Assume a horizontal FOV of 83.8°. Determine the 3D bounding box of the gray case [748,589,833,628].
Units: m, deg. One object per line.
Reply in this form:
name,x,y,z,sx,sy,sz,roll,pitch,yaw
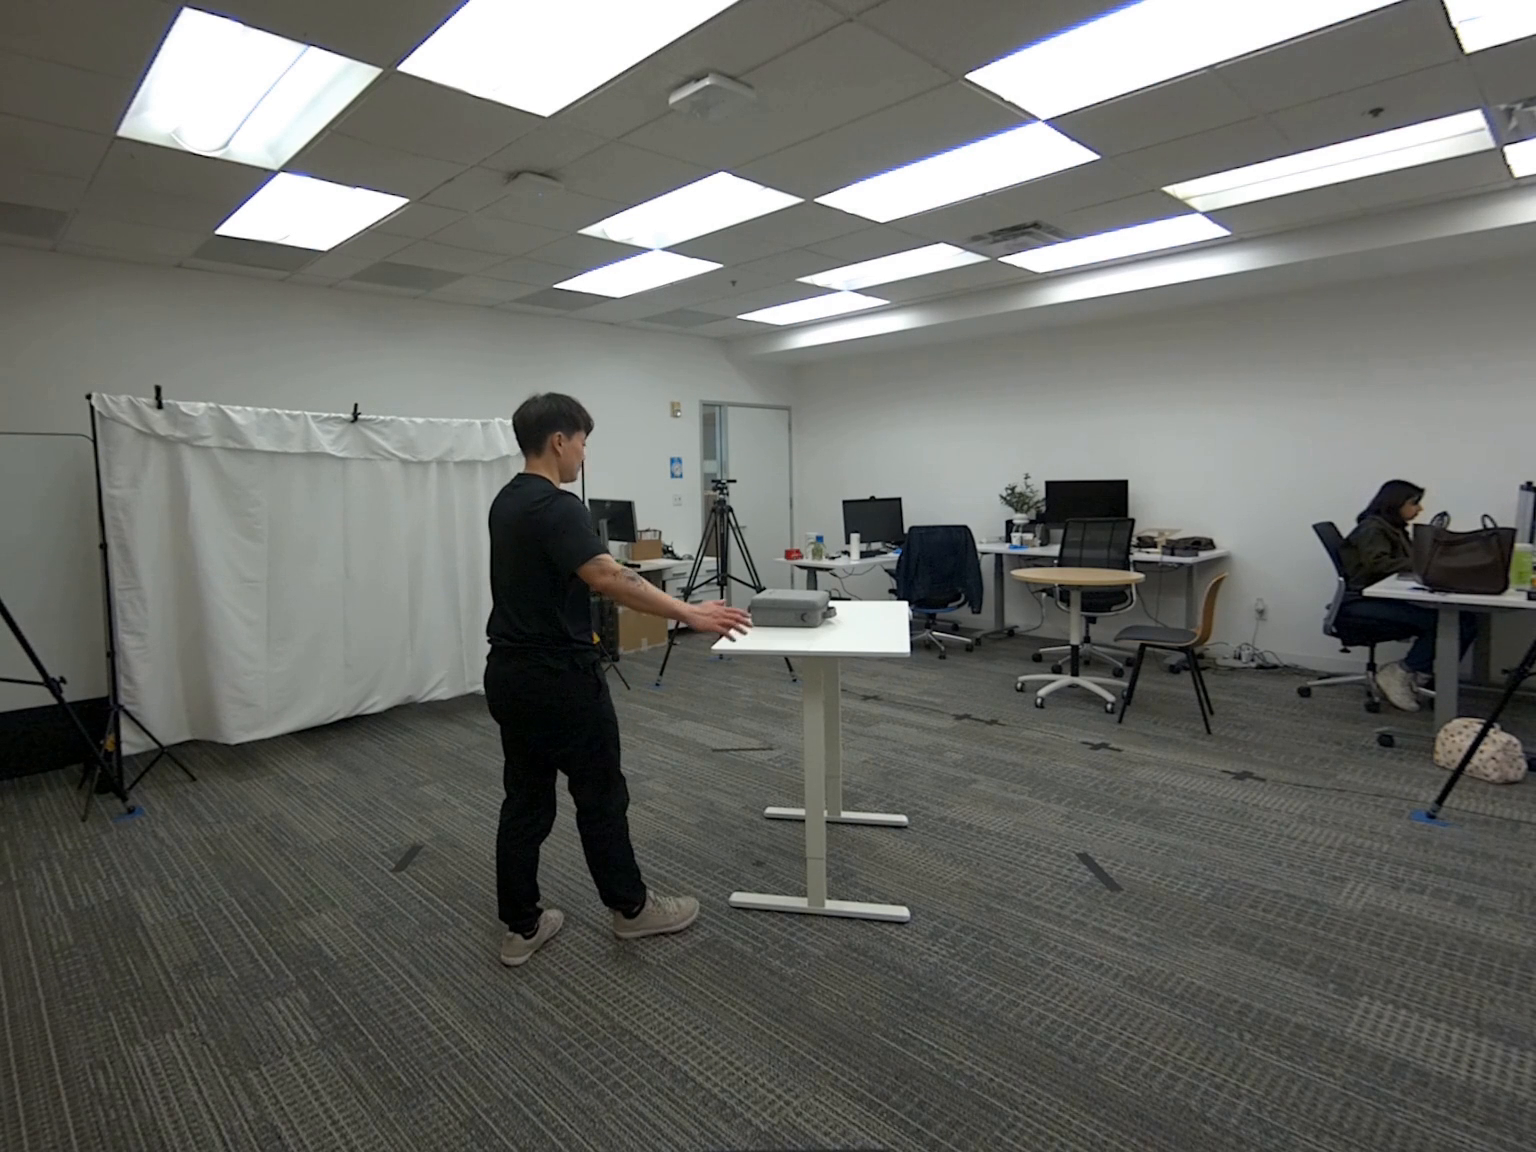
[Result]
gray case,0.094,0.112,3.084,0.265,0.104,0.254,1,6,15
